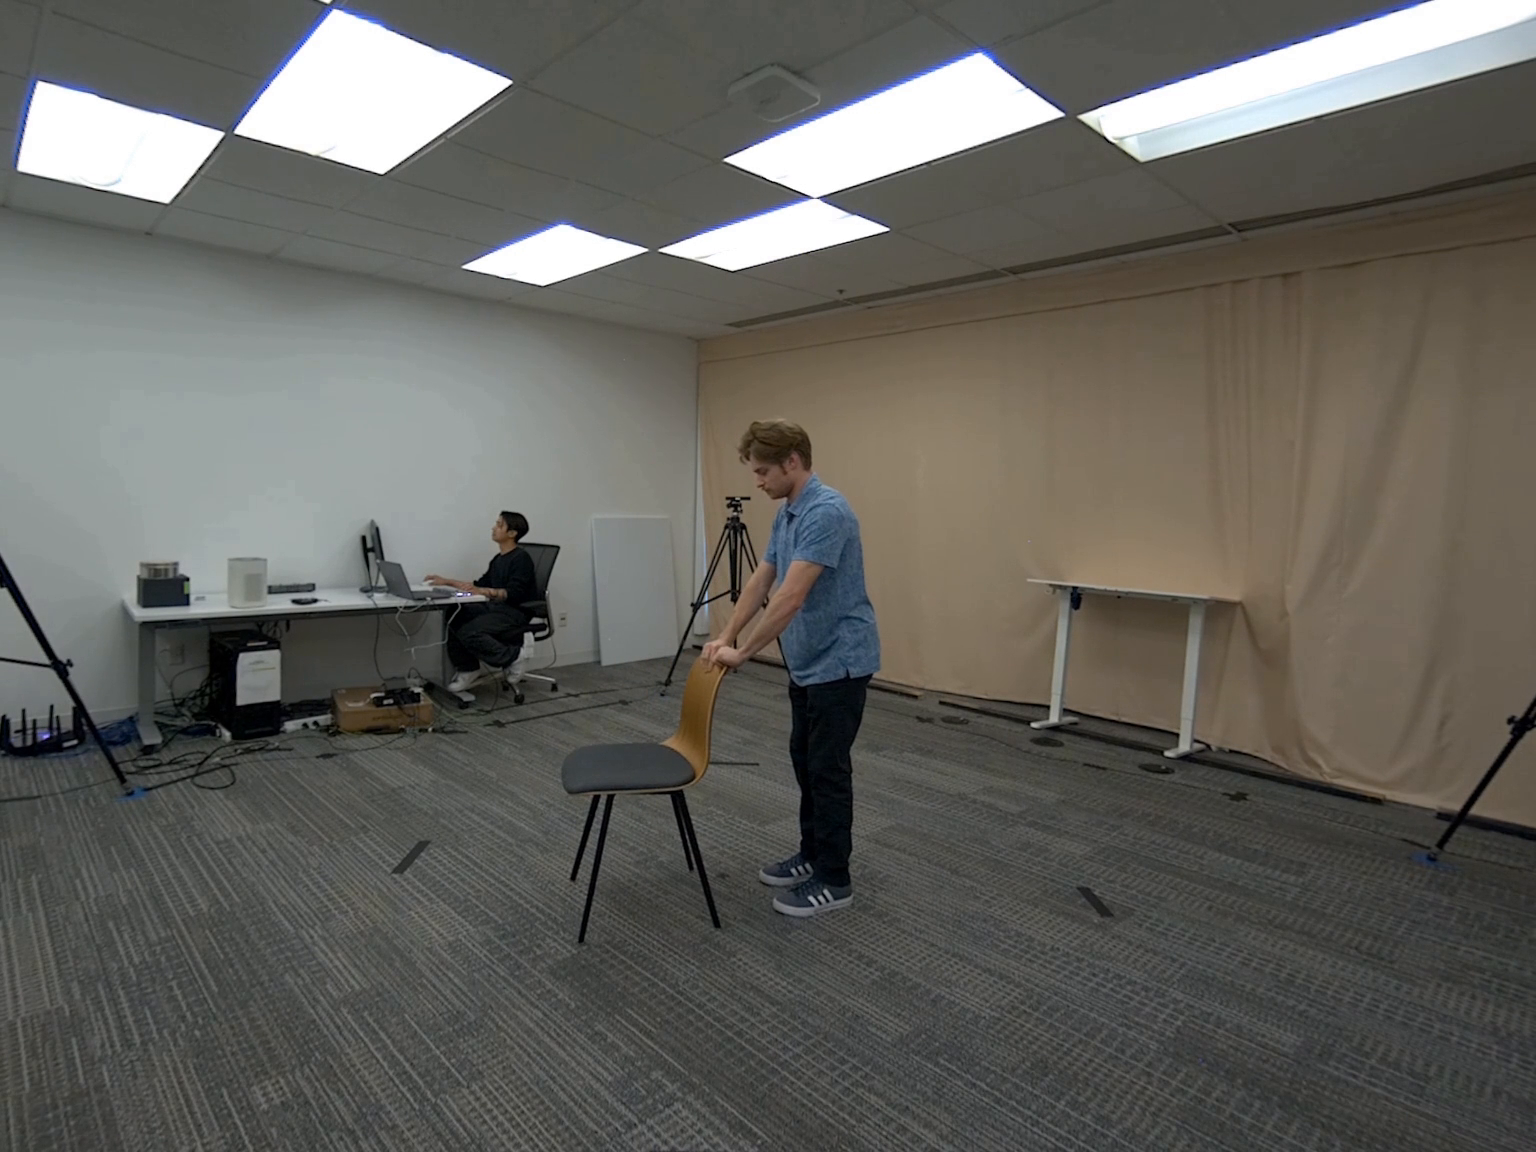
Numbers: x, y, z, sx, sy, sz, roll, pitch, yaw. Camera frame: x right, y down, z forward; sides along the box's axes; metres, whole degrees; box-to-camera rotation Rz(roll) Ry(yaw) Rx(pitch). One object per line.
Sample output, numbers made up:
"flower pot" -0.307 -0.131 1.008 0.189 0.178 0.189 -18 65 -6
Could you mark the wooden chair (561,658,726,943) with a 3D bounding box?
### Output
"wooden chair" -0.436 0.691 2.841 0.516 0.876 0.485 5 3 -16
